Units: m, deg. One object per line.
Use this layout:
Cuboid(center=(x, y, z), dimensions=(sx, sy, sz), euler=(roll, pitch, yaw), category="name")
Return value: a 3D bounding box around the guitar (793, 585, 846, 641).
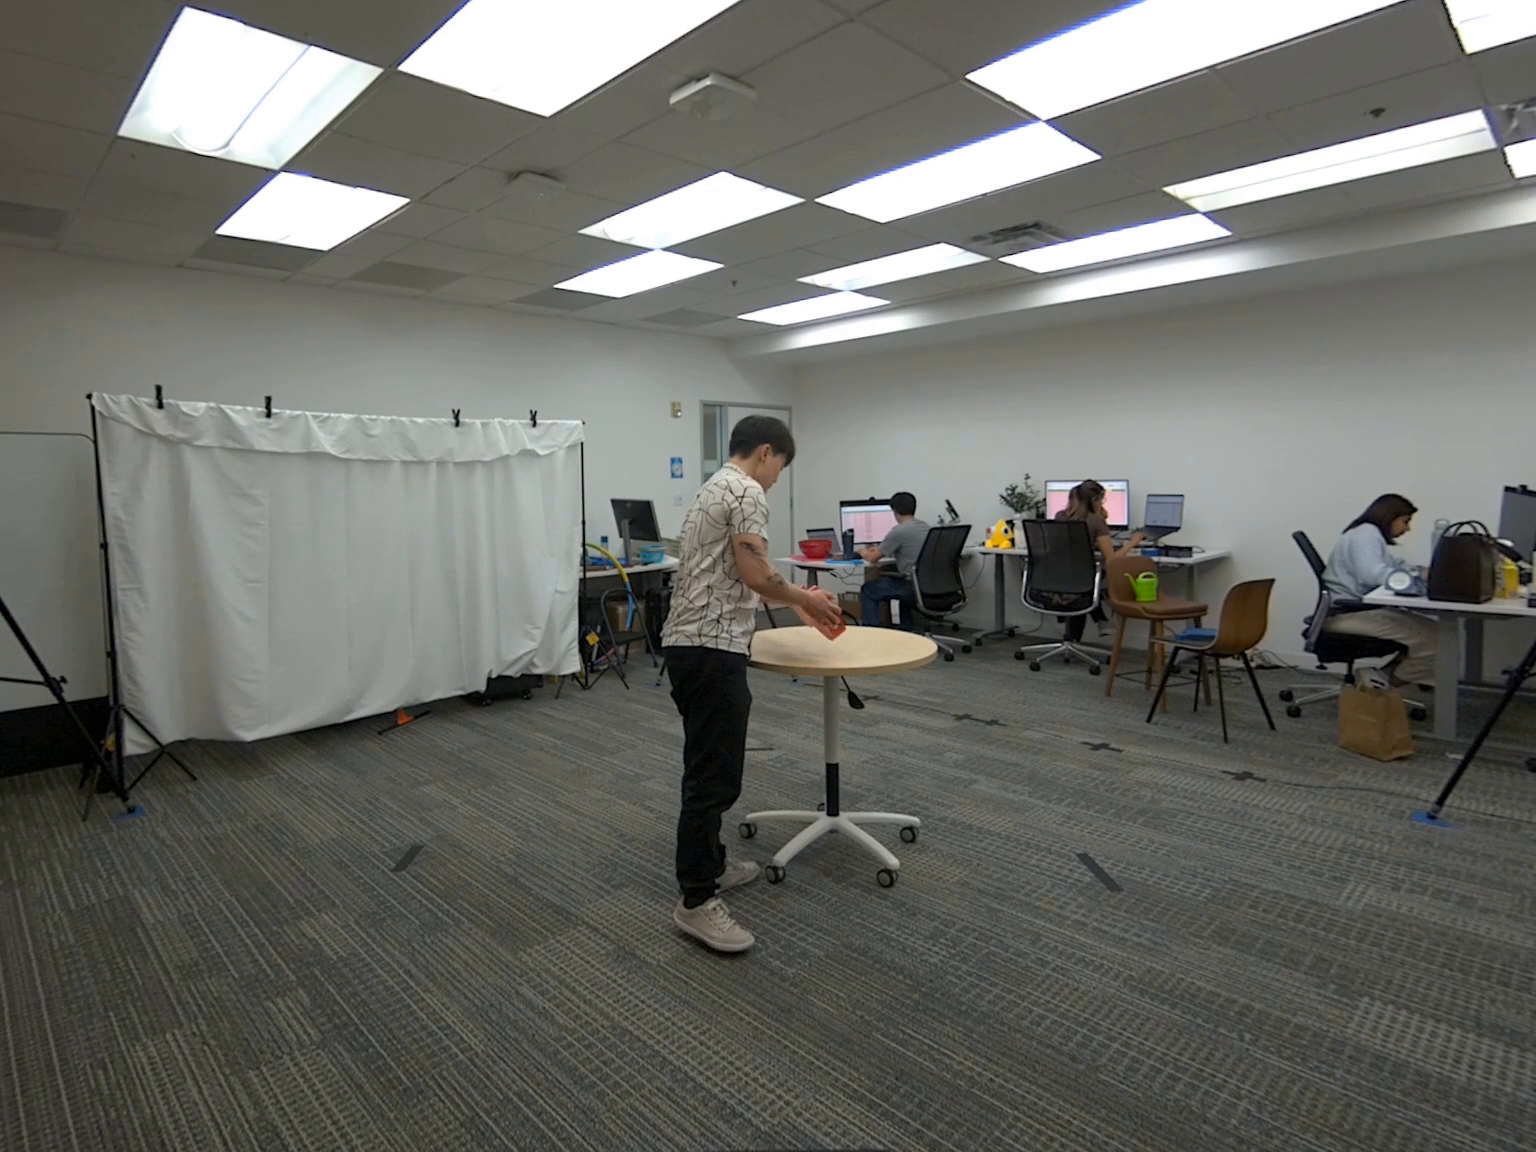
Cuboid(center=(0.146, 0.123, 3.098), dimensions=(0.070, 0.191, 0.503), euler=(-36, 8, -12), category="guitar")
